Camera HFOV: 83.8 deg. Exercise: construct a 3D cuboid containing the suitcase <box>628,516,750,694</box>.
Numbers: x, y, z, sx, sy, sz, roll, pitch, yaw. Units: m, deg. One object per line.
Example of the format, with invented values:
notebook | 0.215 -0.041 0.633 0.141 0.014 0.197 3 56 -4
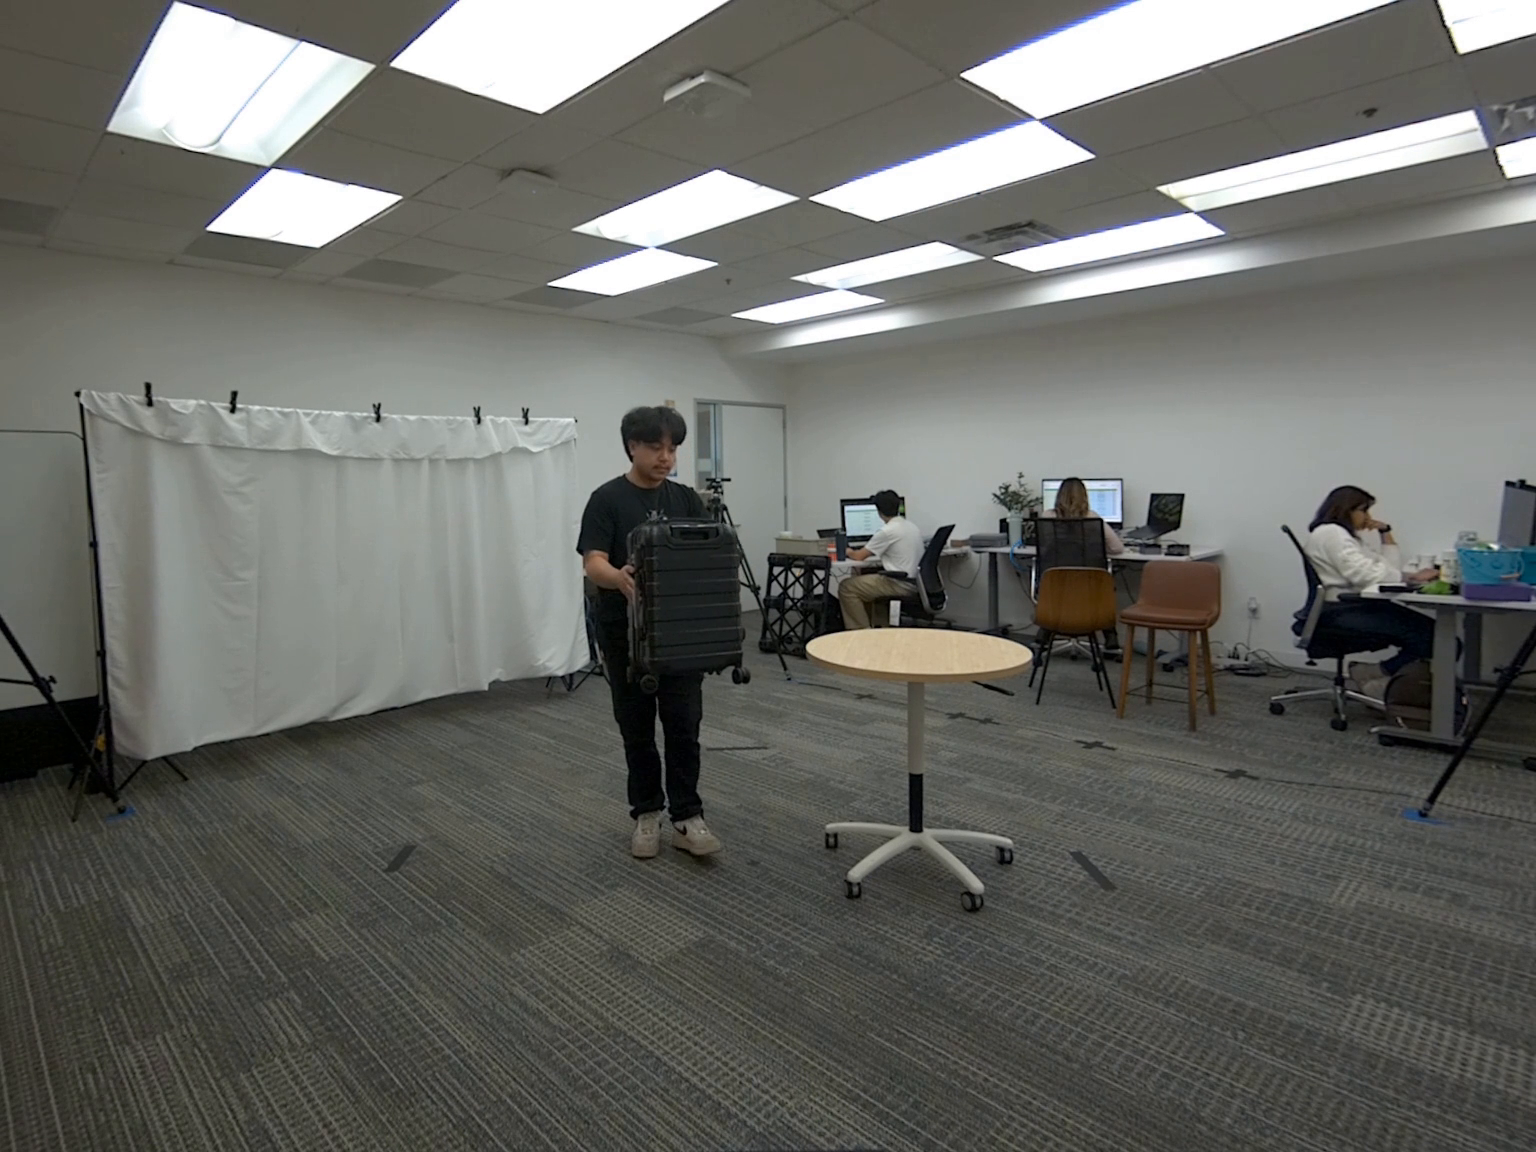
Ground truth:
suitcase | -0.291 0.087 2.891 0.367 0.550 0.253 -3 0 -26
